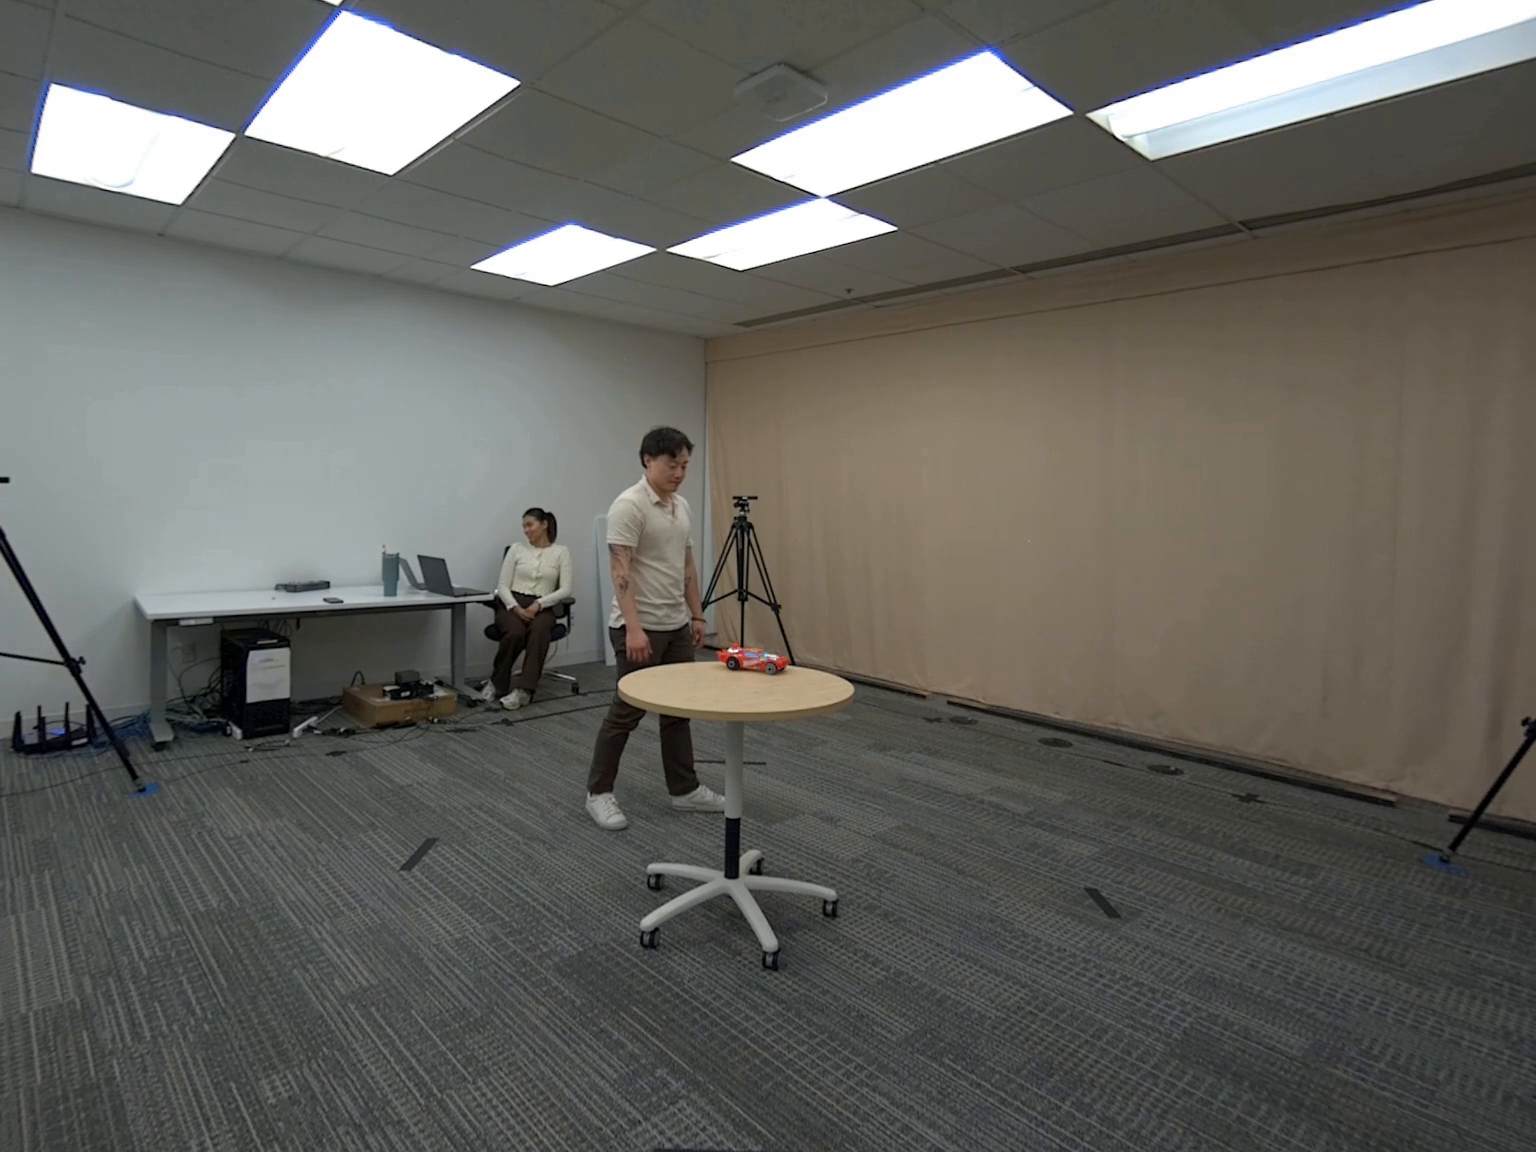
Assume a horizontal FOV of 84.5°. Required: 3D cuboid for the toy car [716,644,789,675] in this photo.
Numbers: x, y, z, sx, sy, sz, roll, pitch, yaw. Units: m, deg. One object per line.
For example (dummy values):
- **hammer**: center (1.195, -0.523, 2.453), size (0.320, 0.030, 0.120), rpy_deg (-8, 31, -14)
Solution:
- **toy car**: center (-0.066, 0.301, 2.987), size (0.260, 0.083, 0.128), rpy_deg (16, 9, 23)
